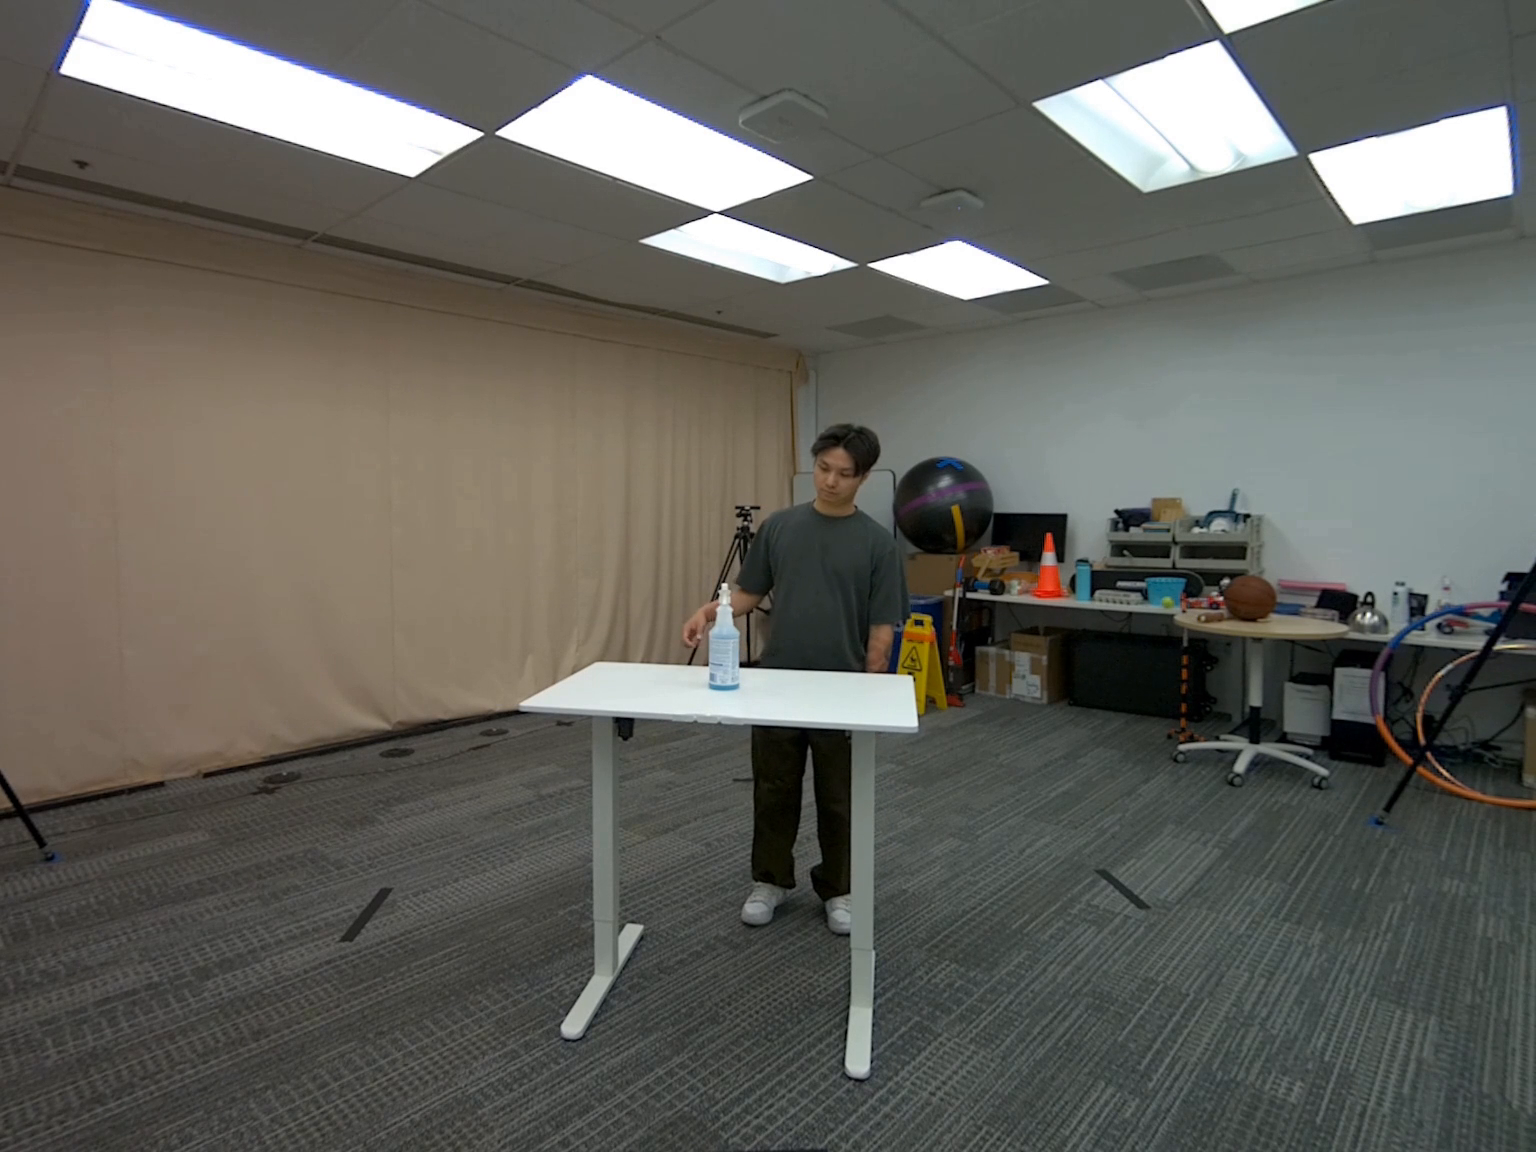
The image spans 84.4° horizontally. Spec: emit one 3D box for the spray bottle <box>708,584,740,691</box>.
[{"bbox_3d":[-0.120,0.170,2.358,0.089,0.296,0.088,5,5,25],"label":"spray bottle"}]
